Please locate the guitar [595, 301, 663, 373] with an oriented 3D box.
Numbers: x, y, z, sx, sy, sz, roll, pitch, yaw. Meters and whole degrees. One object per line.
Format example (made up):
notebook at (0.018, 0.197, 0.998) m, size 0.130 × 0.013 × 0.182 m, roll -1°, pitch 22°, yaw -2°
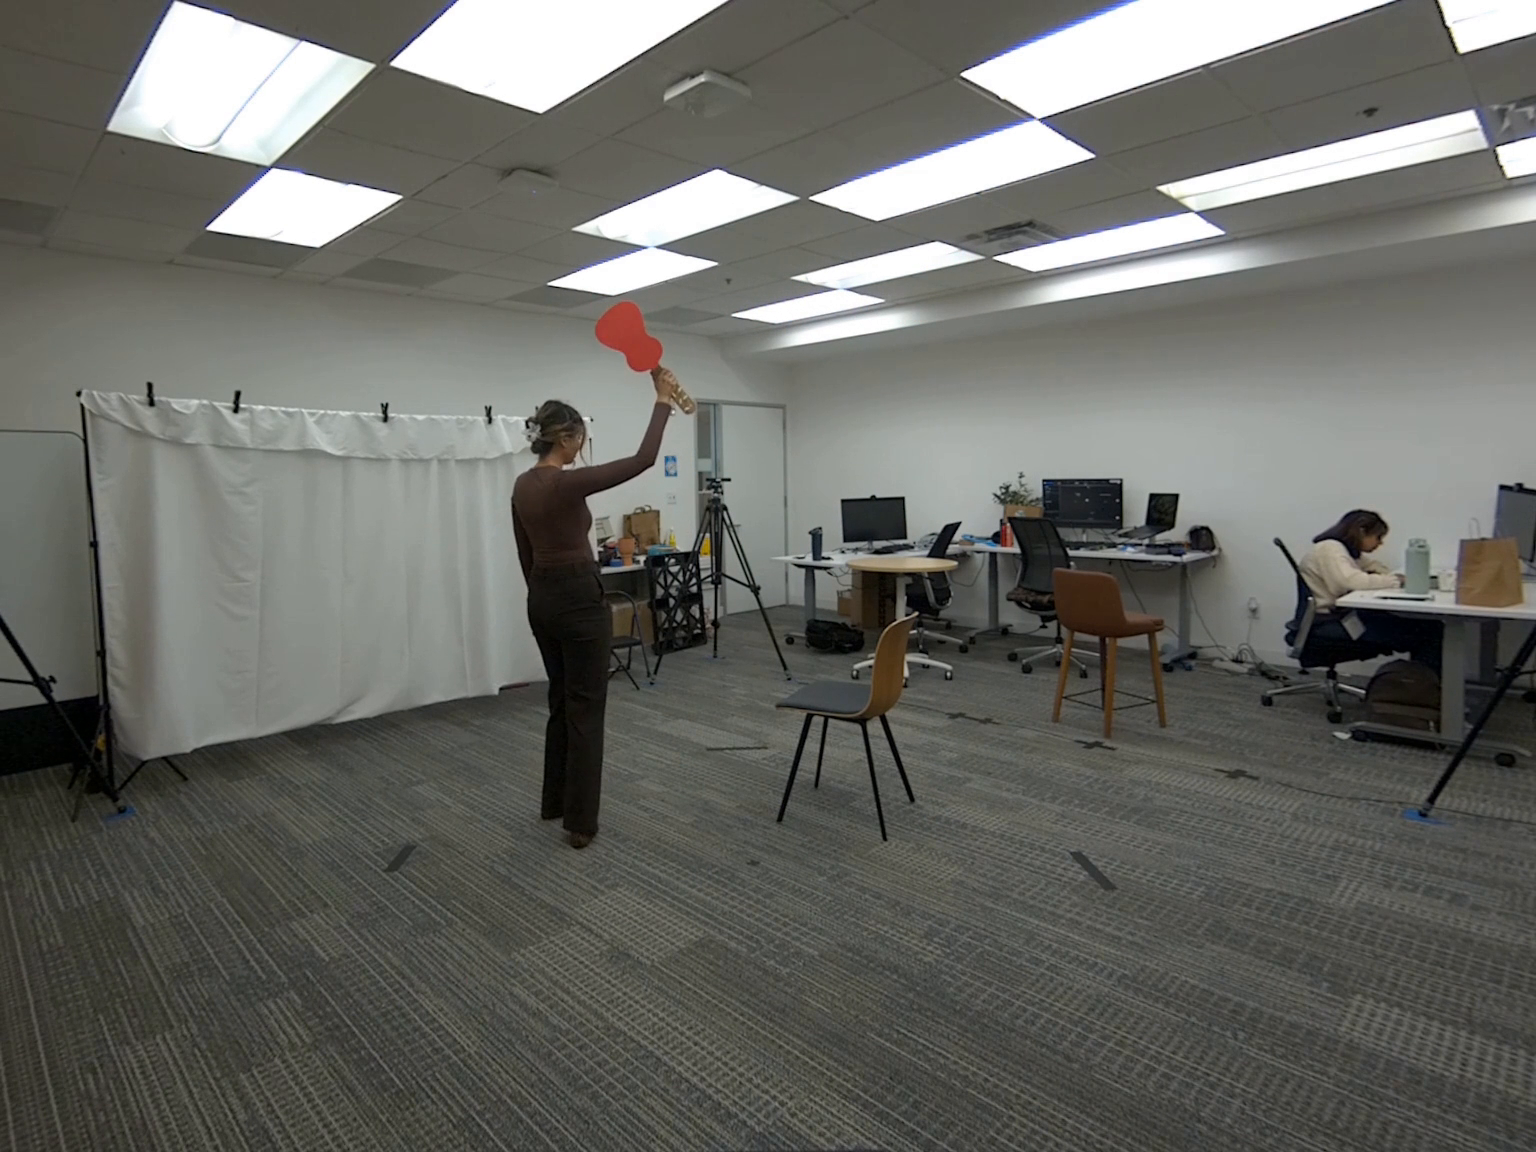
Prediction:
guitar at (-0.436, -0.848, 3.301) m, size 0.492 × 0.193 × 0.071 m, roll 41°, pitch 3°, yaw -9°
